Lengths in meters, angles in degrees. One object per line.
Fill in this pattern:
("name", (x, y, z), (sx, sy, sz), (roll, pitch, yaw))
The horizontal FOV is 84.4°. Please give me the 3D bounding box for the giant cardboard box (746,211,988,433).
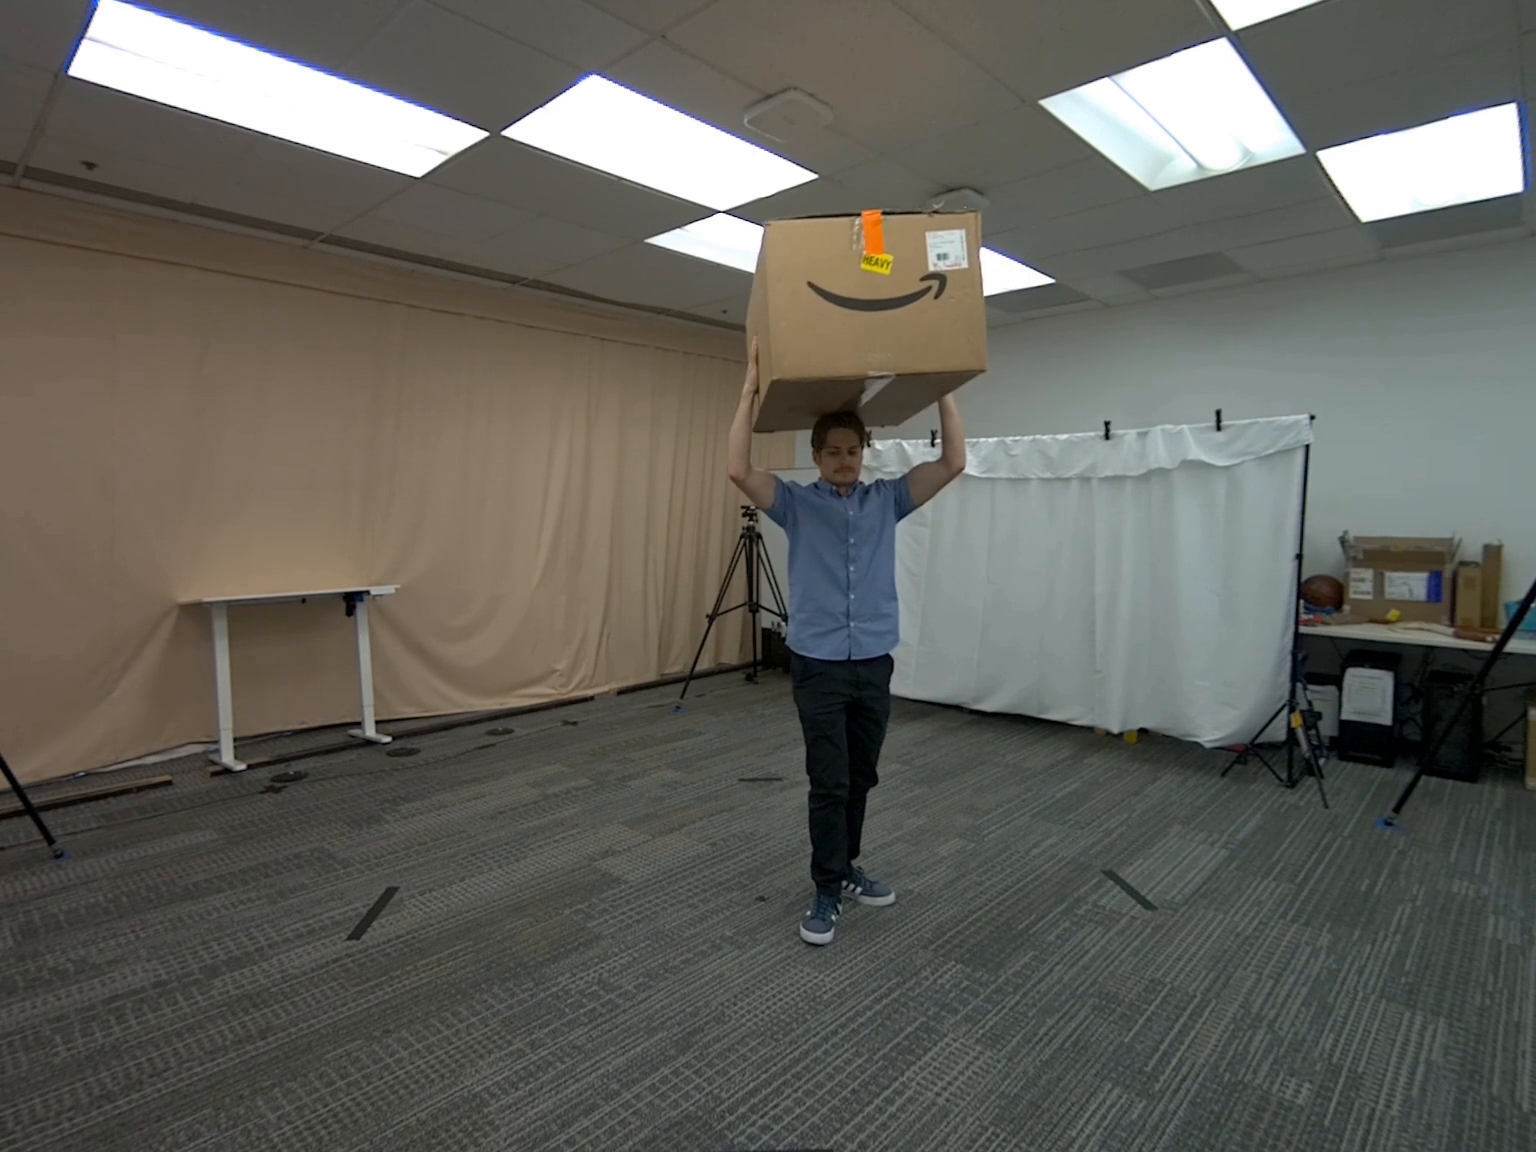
("giant cardboard box", (0.251, -0.754, 2.705), (0.576, 0.426, 1.028), (-3, 2, -3))
